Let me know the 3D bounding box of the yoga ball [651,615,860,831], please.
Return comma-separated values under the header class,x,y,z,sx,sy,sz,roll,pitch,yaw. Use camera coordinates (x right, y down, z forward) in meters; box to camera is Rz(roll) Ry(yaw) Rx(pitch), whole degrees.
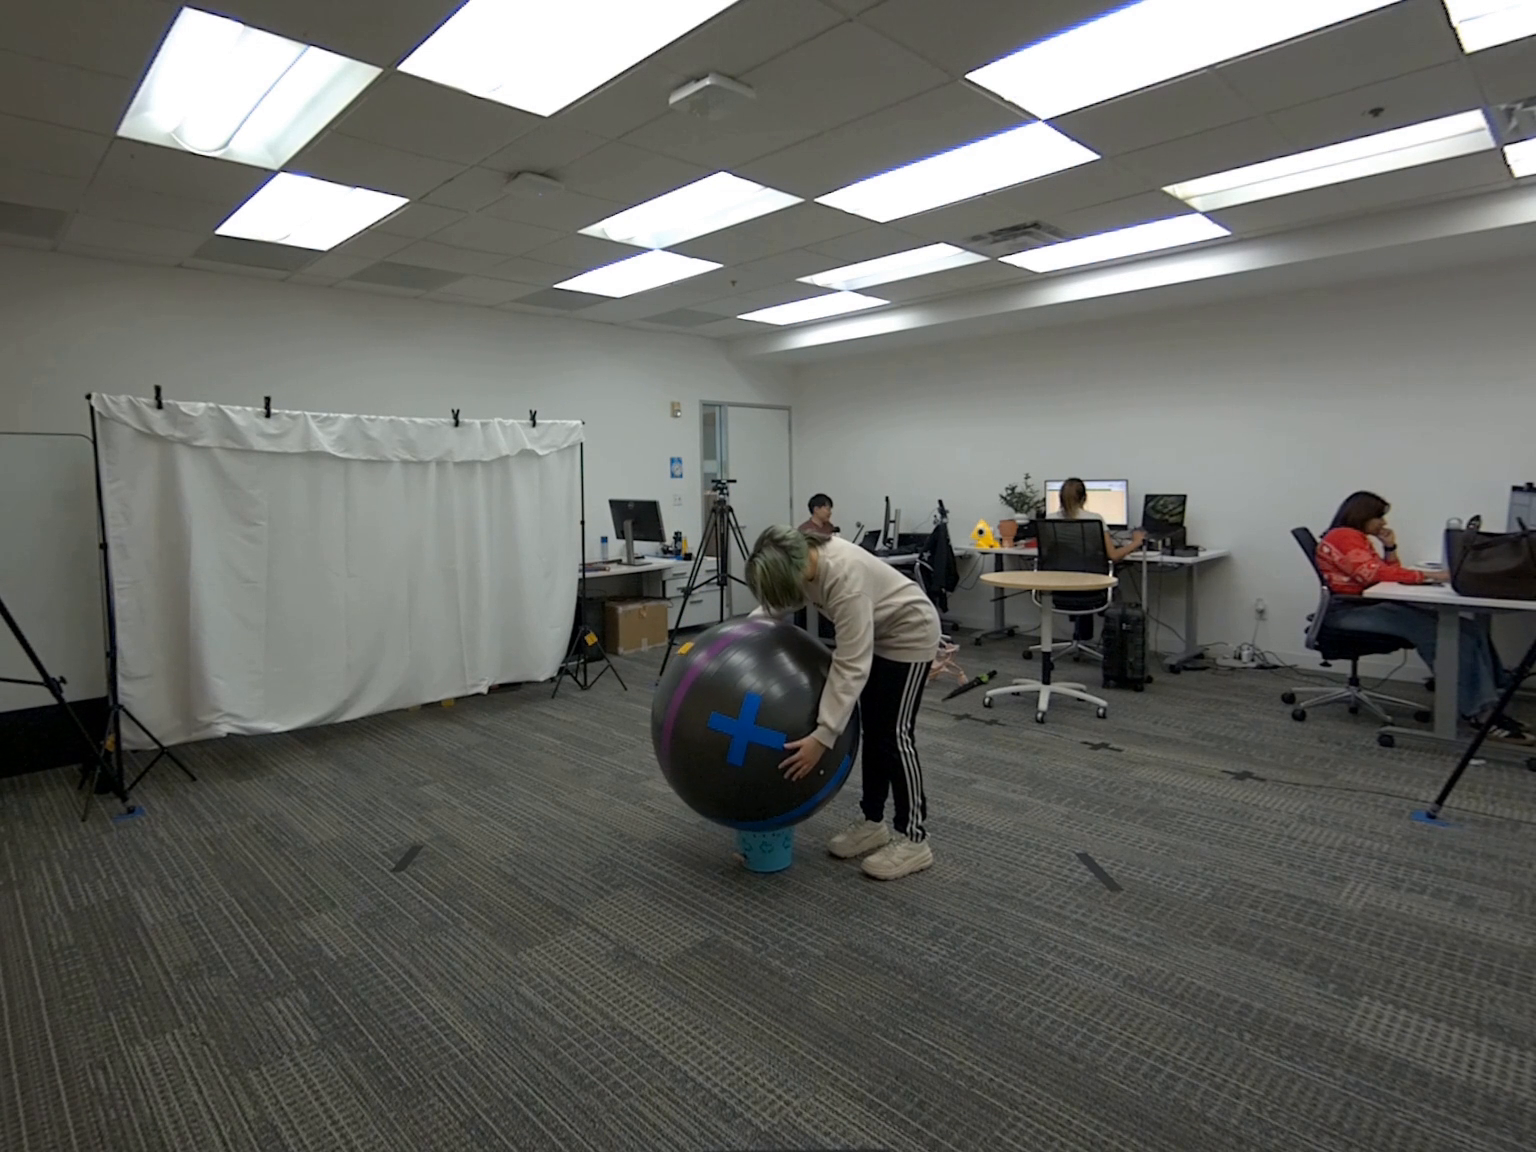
class,x,y,z,sx,sy,sz,roll,pitch,yaw
yoga ball,-0.042,0.533,3.105,0.757,0.755,0.762,-1,5,-2
